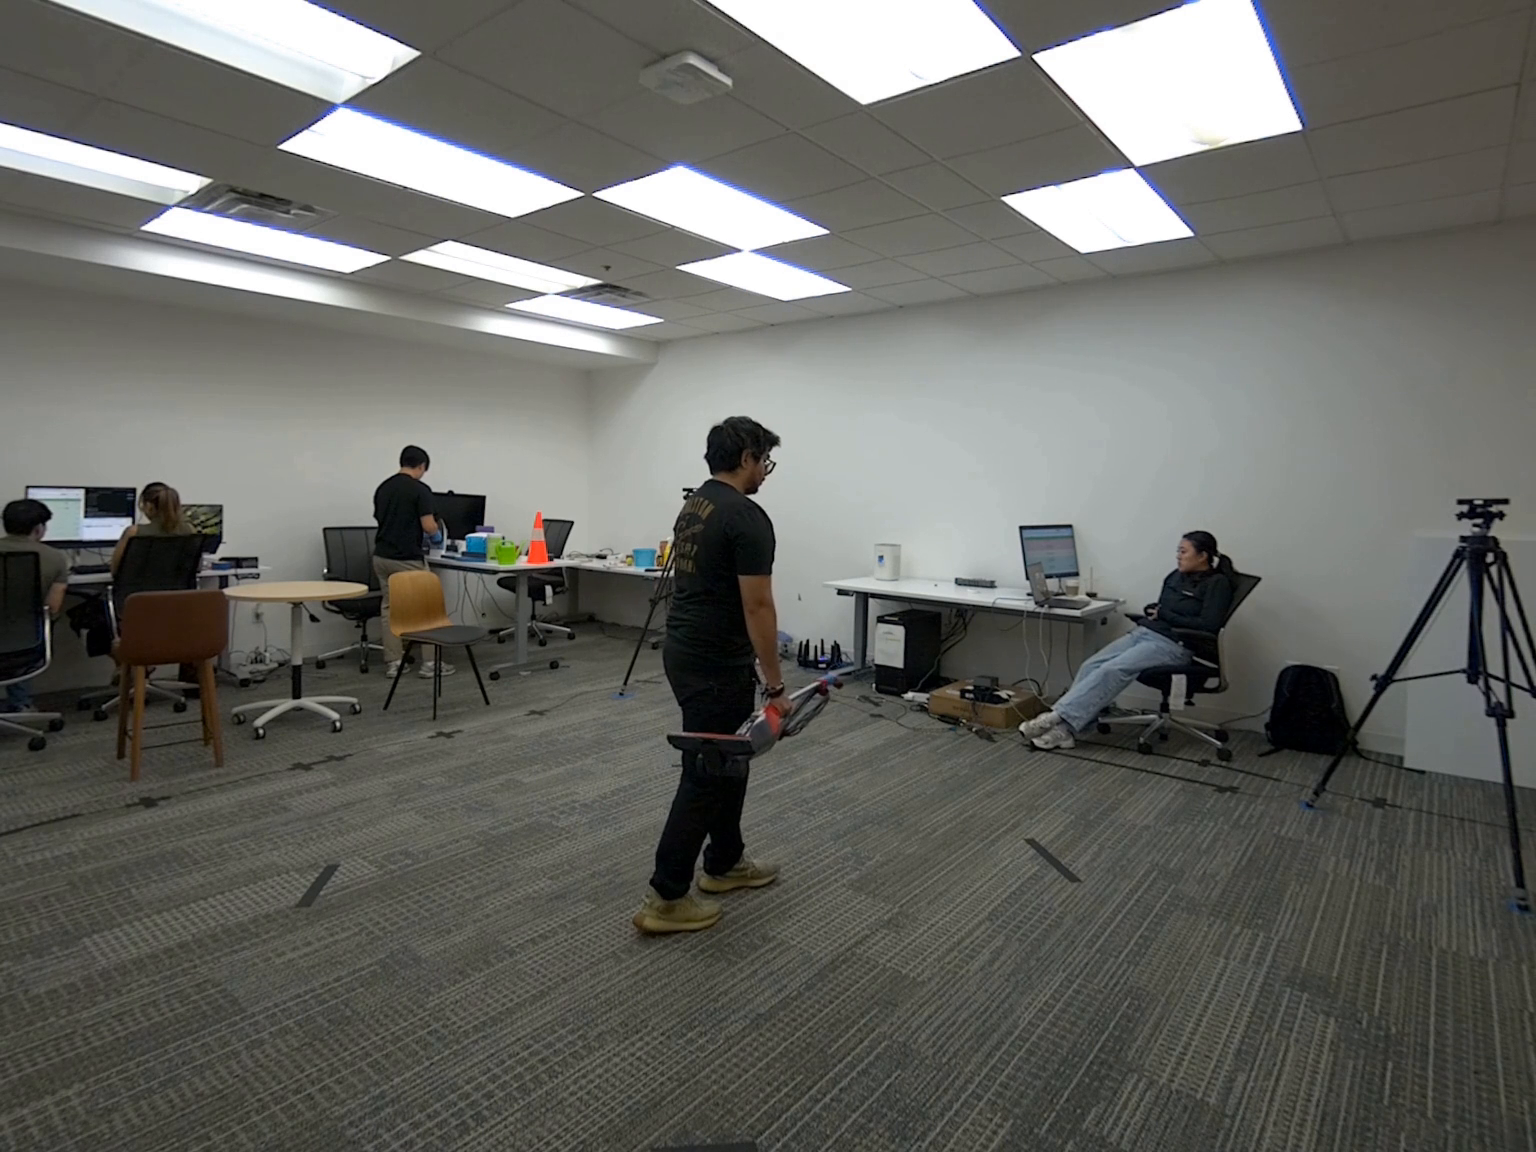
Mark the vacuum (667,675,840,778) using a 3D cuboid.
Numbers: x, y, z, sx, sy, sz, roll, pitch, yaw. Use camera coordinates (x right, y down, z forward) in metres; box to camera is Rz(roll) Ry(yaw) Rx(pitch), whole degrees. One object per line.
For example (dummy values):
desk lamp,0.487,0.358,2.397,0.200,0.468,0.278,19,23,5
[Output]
vacuum,0.069,0.449,2.741,0.259,0.144,1.024,0,3,27
